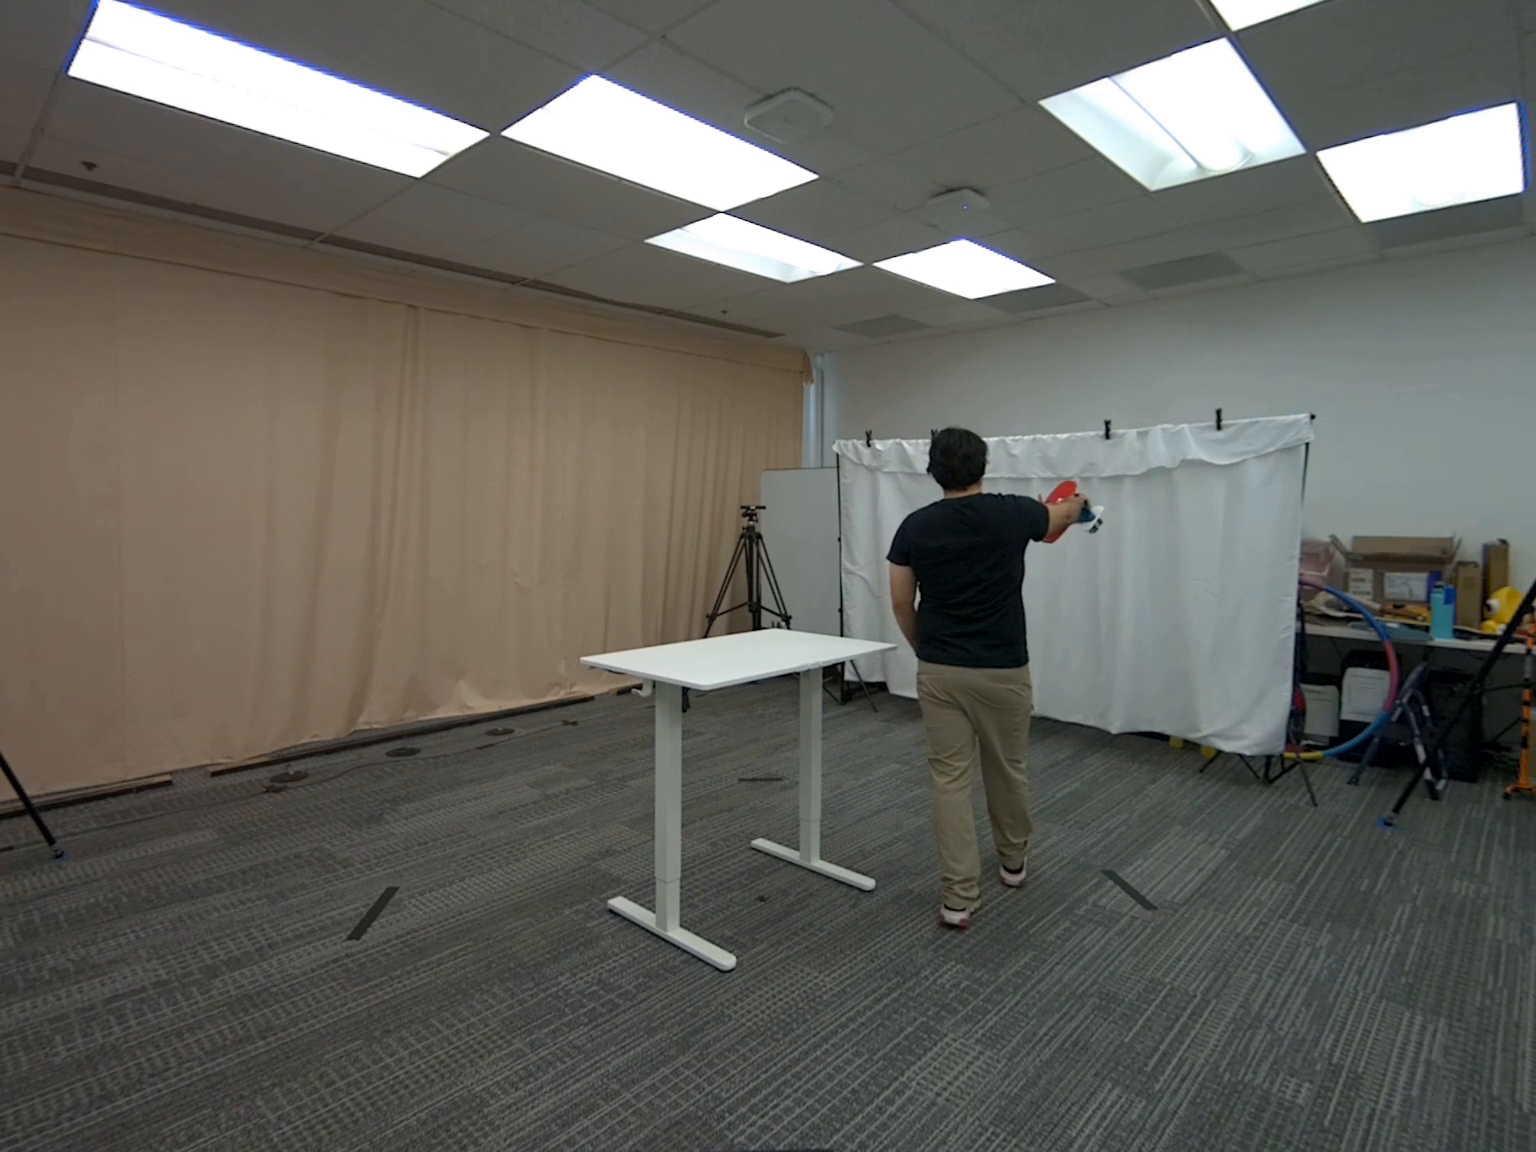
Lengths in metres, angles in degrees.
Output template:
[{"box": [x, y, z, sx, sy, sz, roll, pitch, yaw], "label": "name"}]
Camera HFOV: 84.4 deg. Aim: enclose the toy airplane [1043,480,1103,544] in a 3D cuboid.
[{"box": [1.204, -0.251, 3.307, 0.153, 0.251, 0.264, 42, -40, -17], "label": "toy airplane"}]
